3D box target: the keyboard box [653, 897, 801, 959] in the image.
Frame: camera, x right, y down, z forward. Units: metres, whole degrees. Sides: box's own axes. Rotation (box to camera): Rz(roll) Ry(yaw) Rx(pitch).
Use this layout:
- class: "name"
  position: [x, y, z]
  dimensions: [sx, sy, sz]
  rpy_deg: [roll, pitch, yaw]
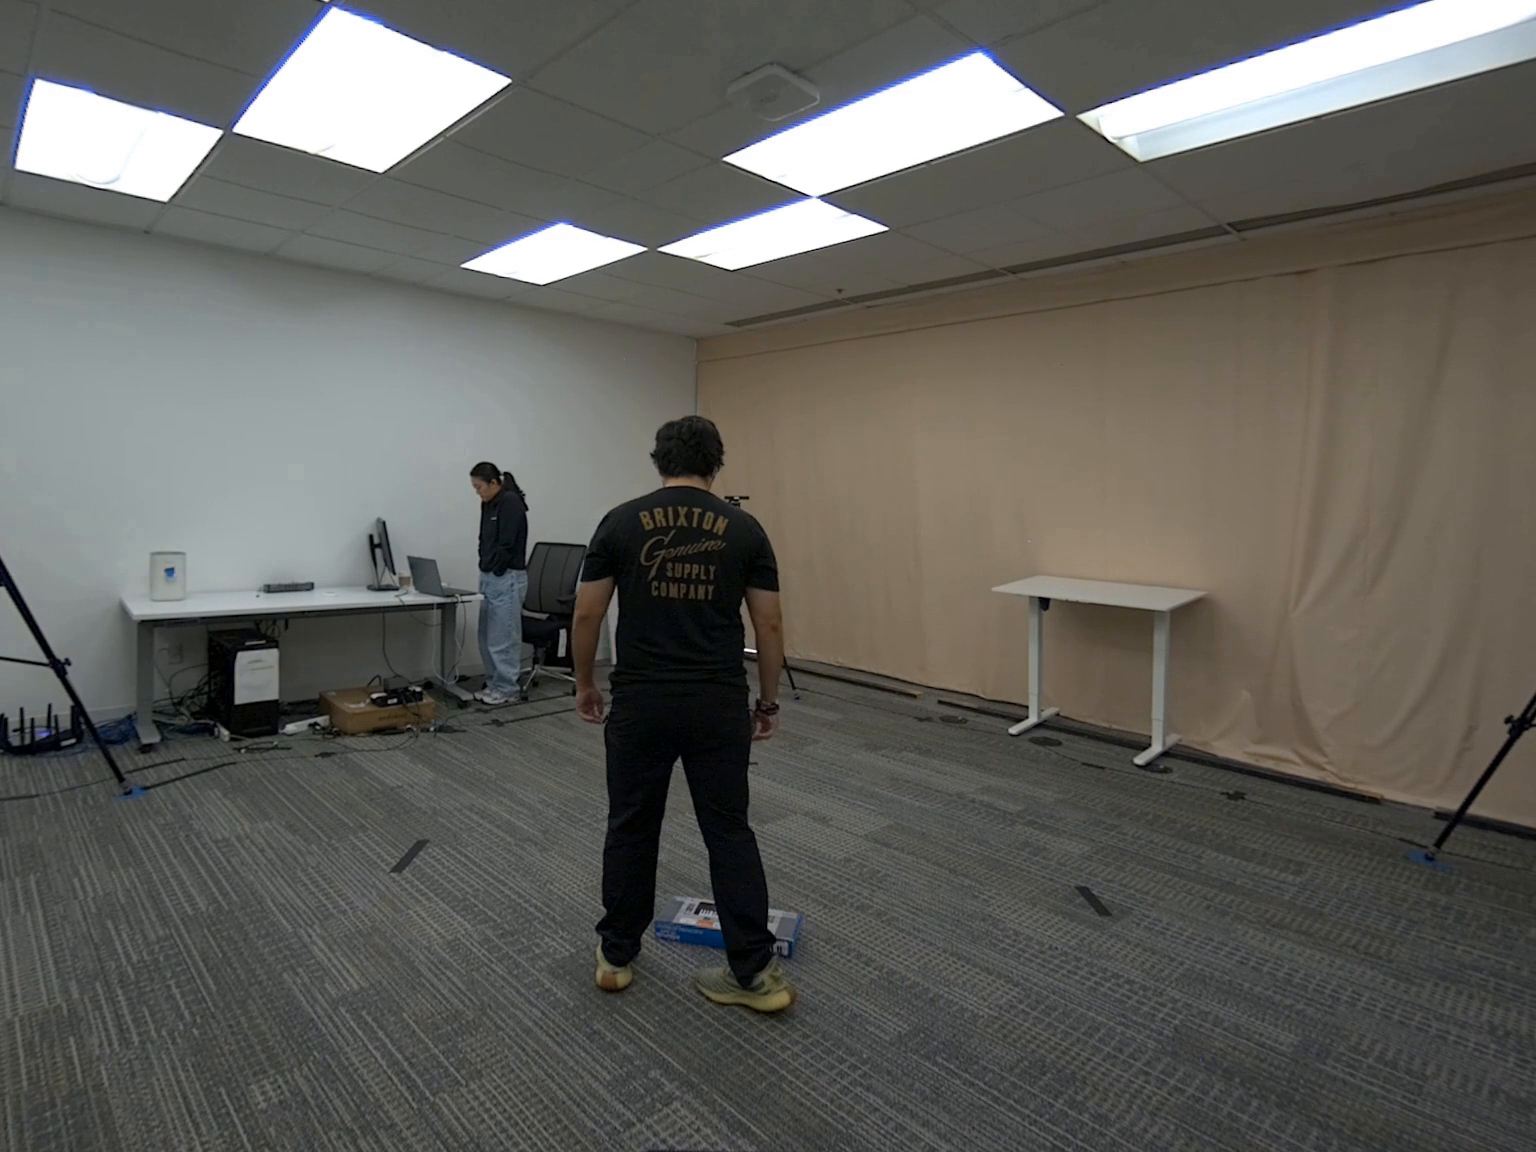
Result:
- class: "keyboard box"
  position: [-0.131, 1.115, 2.674]
  dimensions: [0.442, 0.059, 0.174]
  rpy_deg: [3, 6, 13]
